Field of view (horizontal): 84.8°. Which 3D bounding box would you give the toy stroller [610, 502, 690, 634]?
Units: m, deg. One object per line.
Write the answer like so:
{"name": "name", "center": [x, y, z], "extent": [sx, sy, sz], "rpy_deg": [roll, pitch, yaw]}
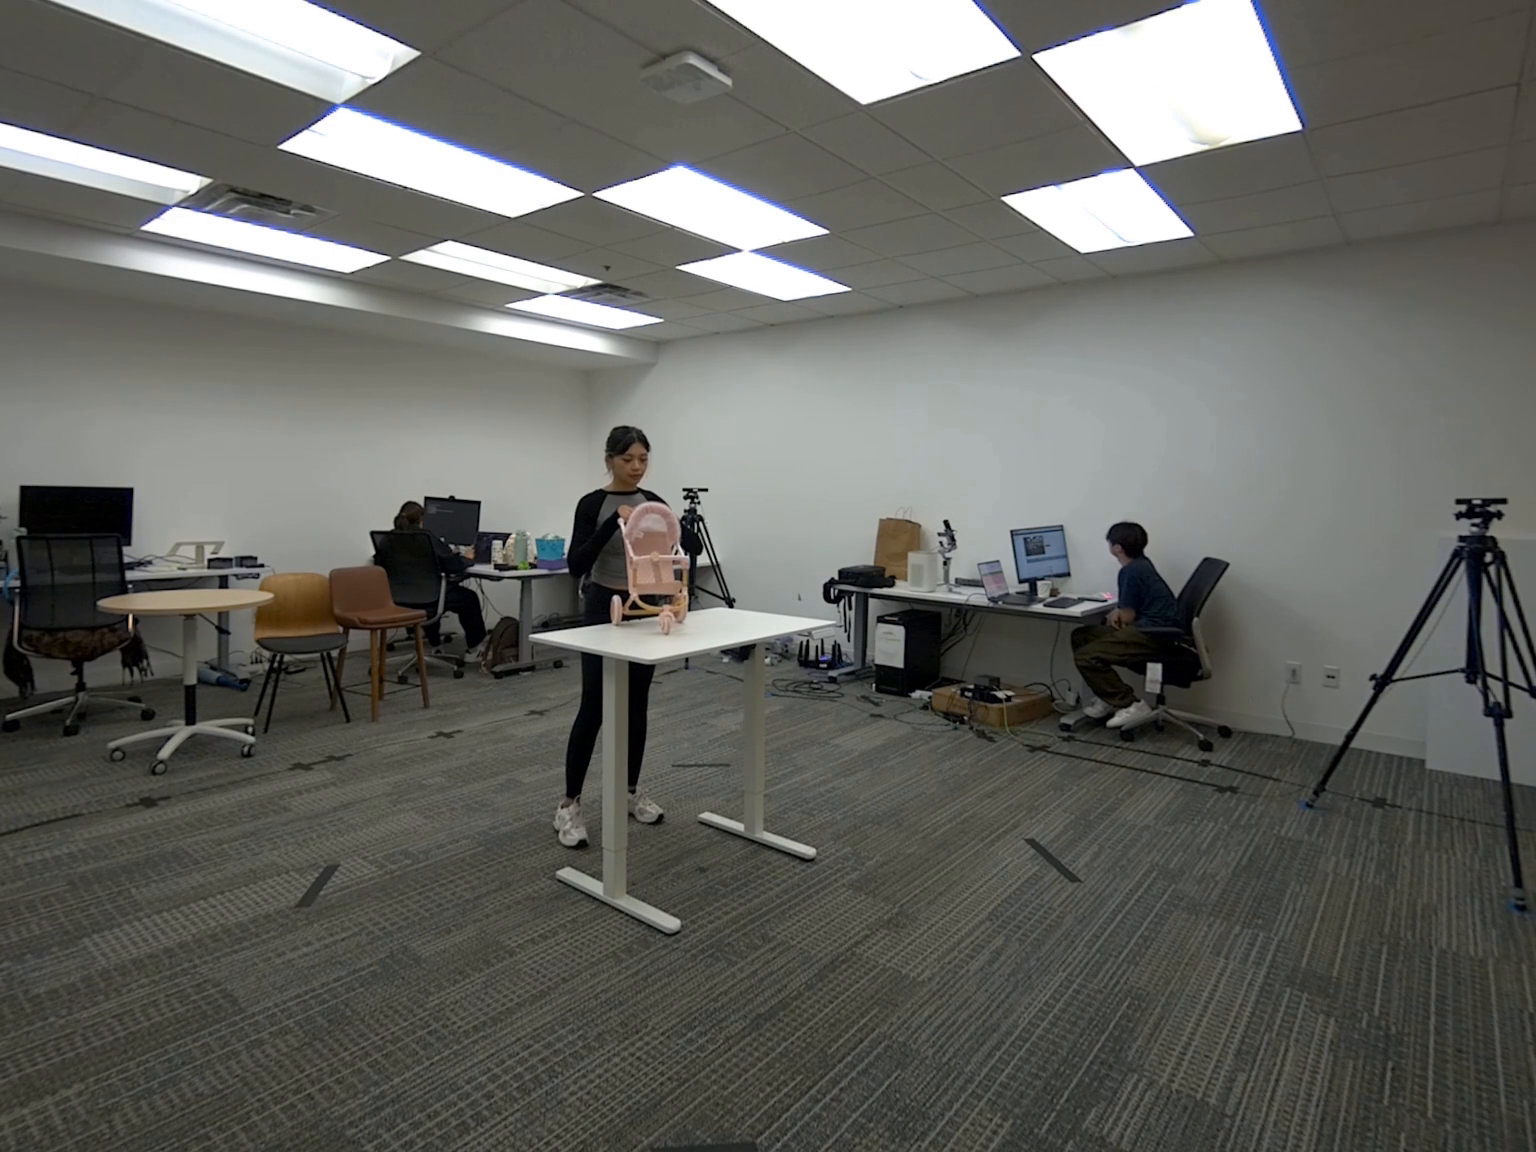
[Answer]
{"name": "toy stroller", "center": [-0.434, -0.037, 3.123], "extent": [0.276, 0.542, 0.343], "rpy_deg": [-1, -12, -18]}
